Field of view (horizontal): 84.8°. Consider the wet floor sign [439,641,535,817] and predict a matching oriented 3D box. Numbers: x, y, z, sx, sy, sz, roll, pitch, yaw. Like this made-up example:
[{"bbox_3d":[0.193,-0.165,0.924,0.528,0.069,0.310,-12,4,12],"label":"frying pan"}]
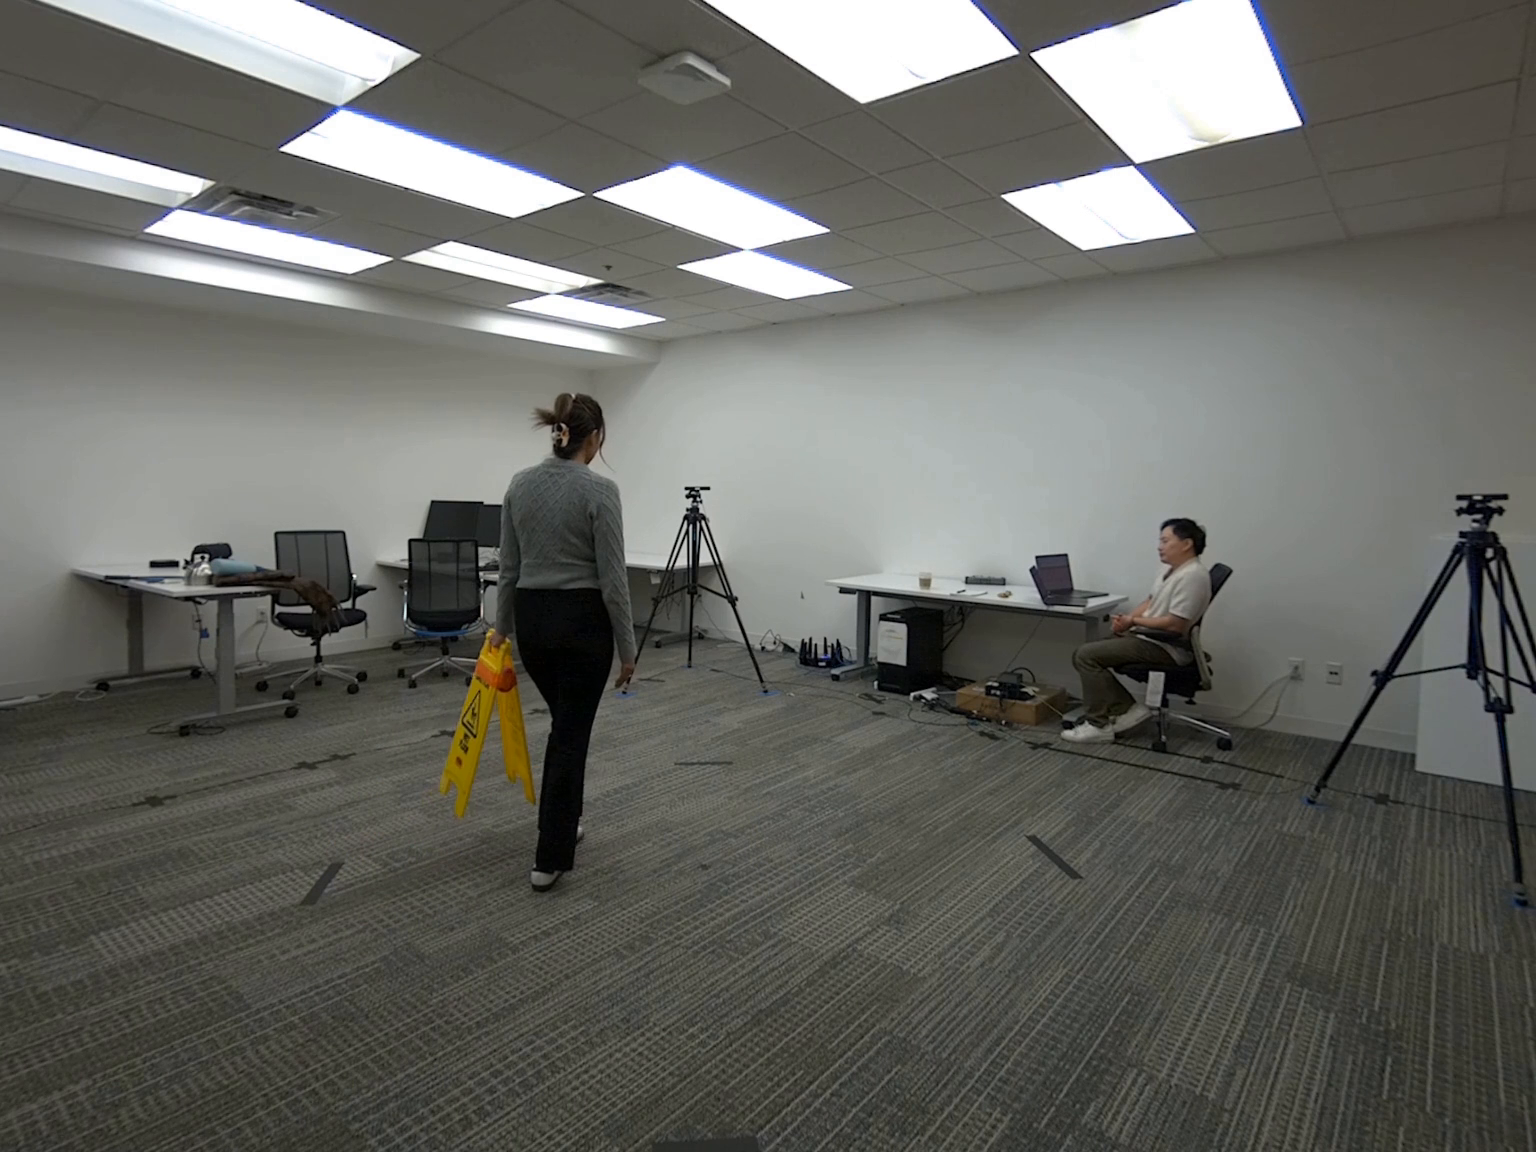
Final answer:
[{"bbox_3d":[-1.063,0.536,3.241,0.281,0.642,0.293,2,10,-36],"label":"wet floor sign"}]
